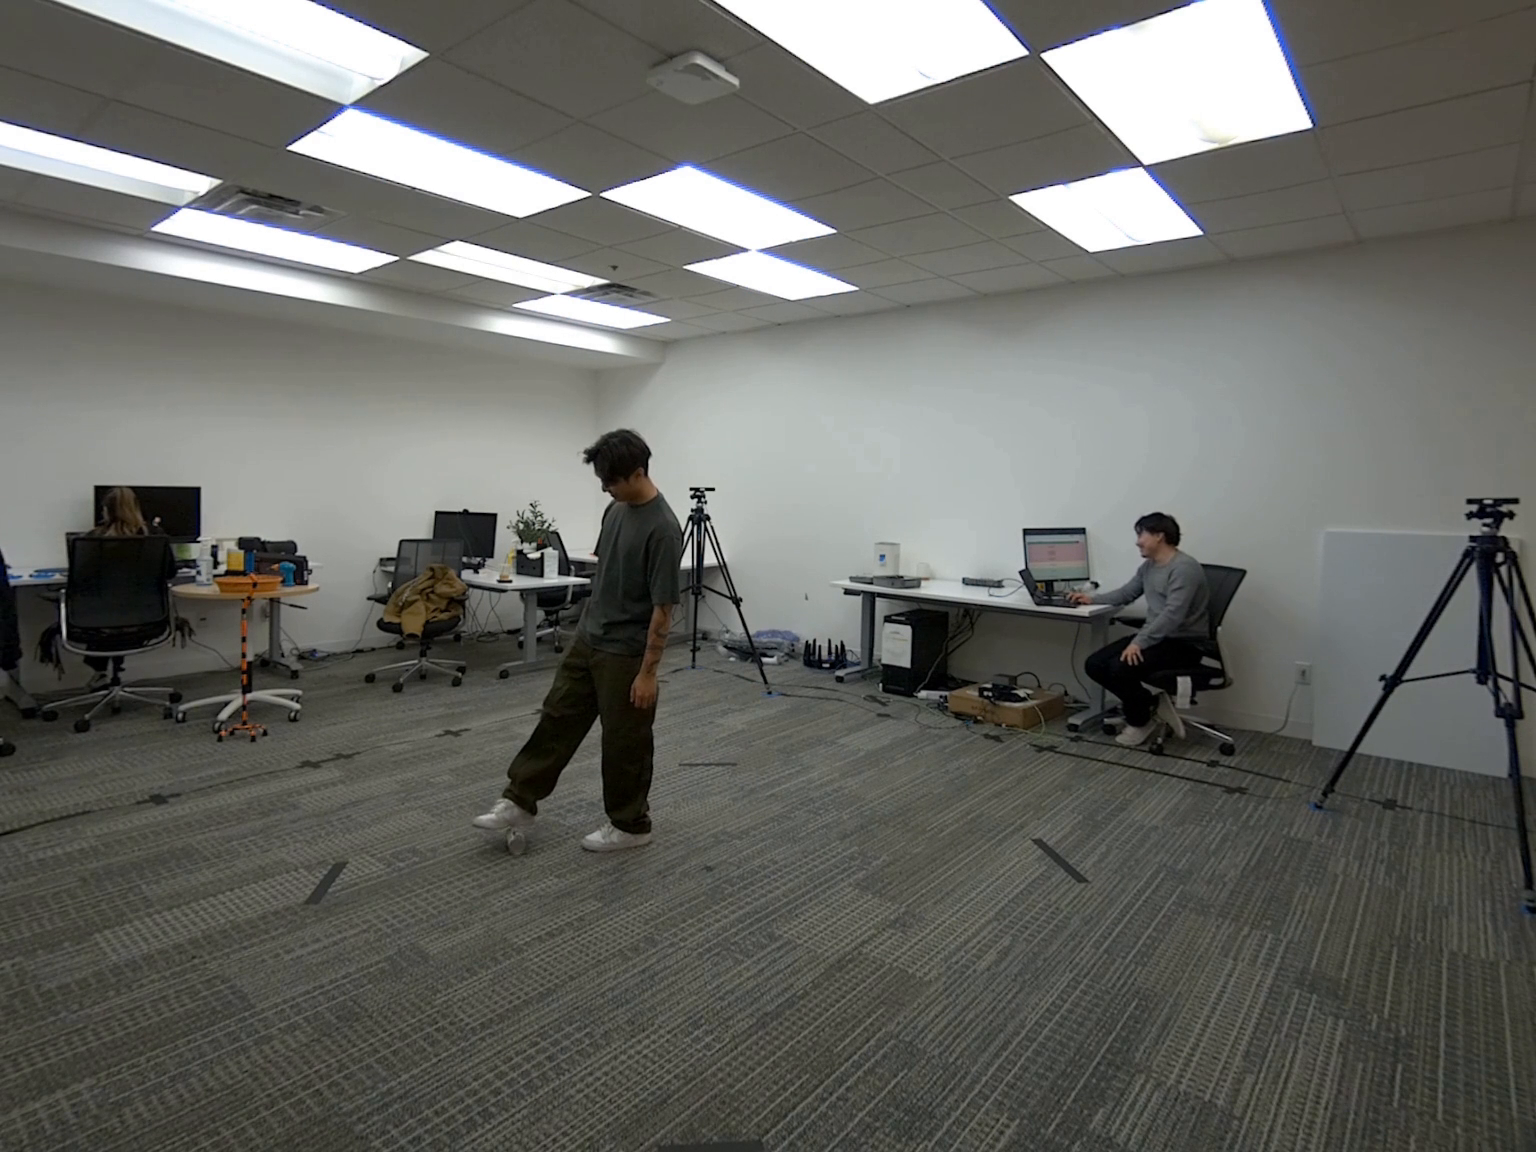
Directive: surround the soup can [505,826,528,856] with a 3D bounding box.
[{"bbox_3d":[-0.977,1.011,3.273,0.066,0.066,0.125,-1,11,-20],"label":"soup can"}]
